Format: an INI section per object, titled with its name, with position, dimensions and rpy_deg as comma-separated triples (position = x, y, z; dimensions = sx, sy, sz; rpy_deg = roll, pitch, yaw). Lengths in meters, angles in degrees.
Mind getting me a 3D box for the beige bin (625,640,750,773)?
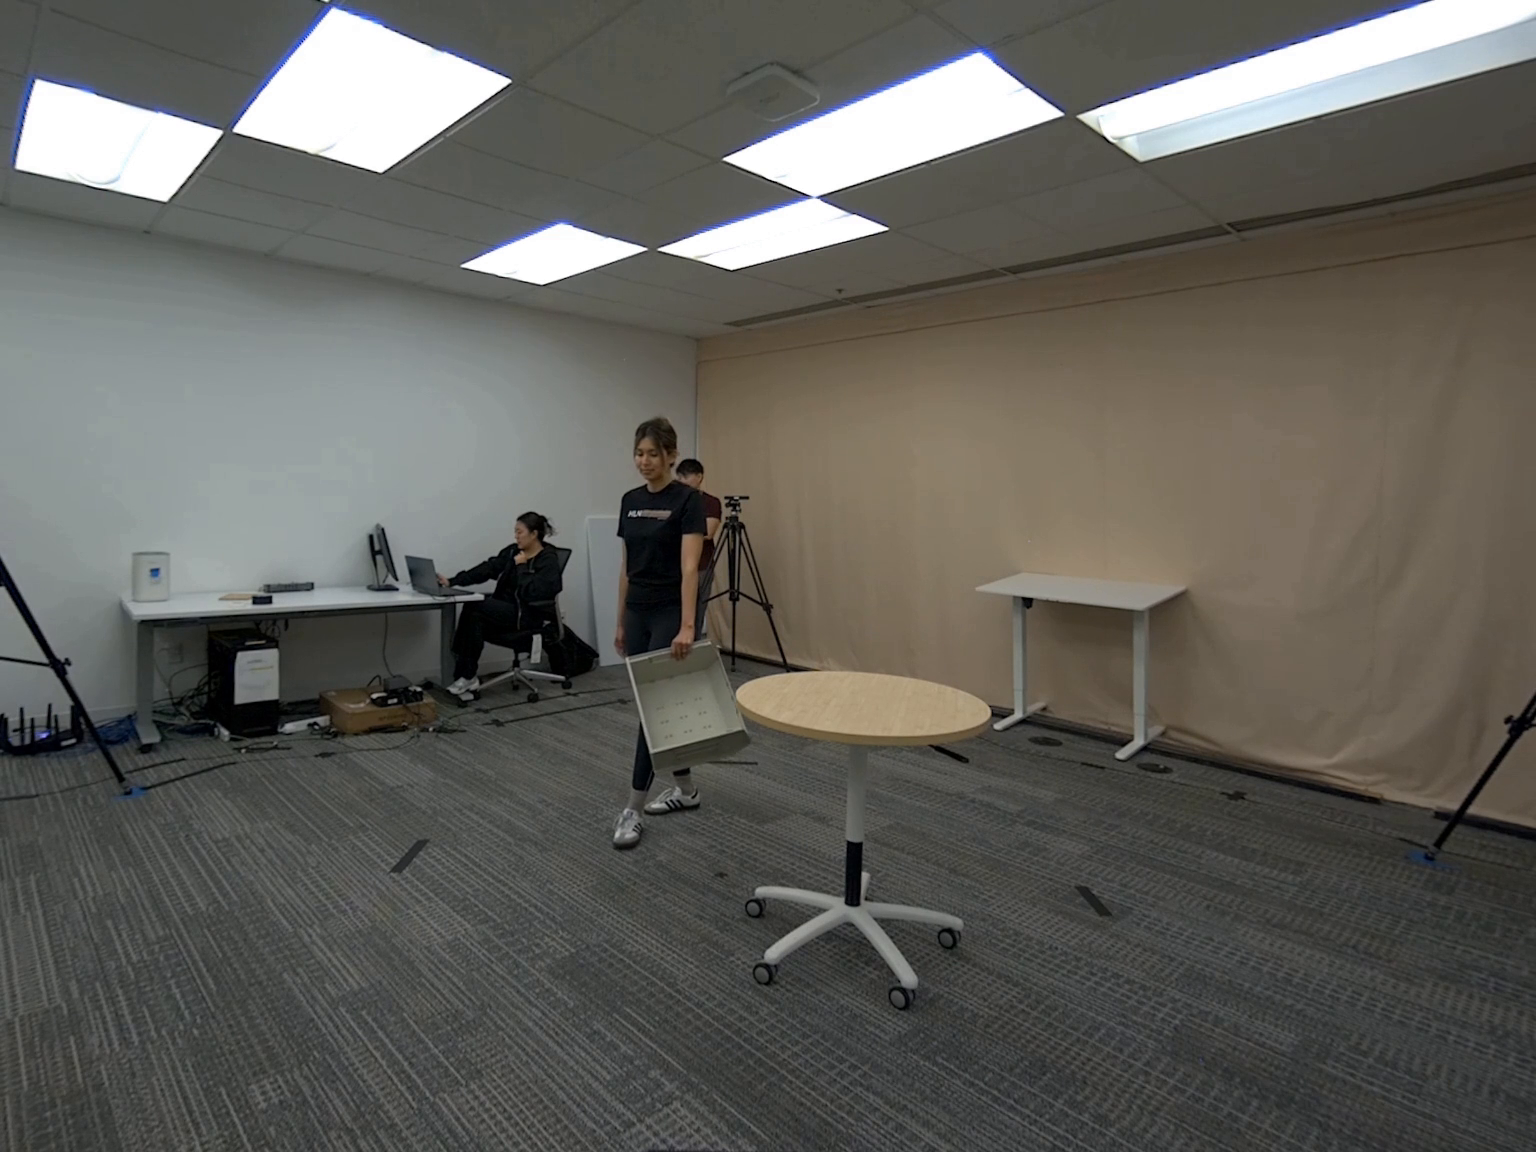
[beige bin]
position = -0.316, 0.486, 3.180
dimensions = 0.374, 0.185, 0.435
rpy_deg = -12, 50, -13
